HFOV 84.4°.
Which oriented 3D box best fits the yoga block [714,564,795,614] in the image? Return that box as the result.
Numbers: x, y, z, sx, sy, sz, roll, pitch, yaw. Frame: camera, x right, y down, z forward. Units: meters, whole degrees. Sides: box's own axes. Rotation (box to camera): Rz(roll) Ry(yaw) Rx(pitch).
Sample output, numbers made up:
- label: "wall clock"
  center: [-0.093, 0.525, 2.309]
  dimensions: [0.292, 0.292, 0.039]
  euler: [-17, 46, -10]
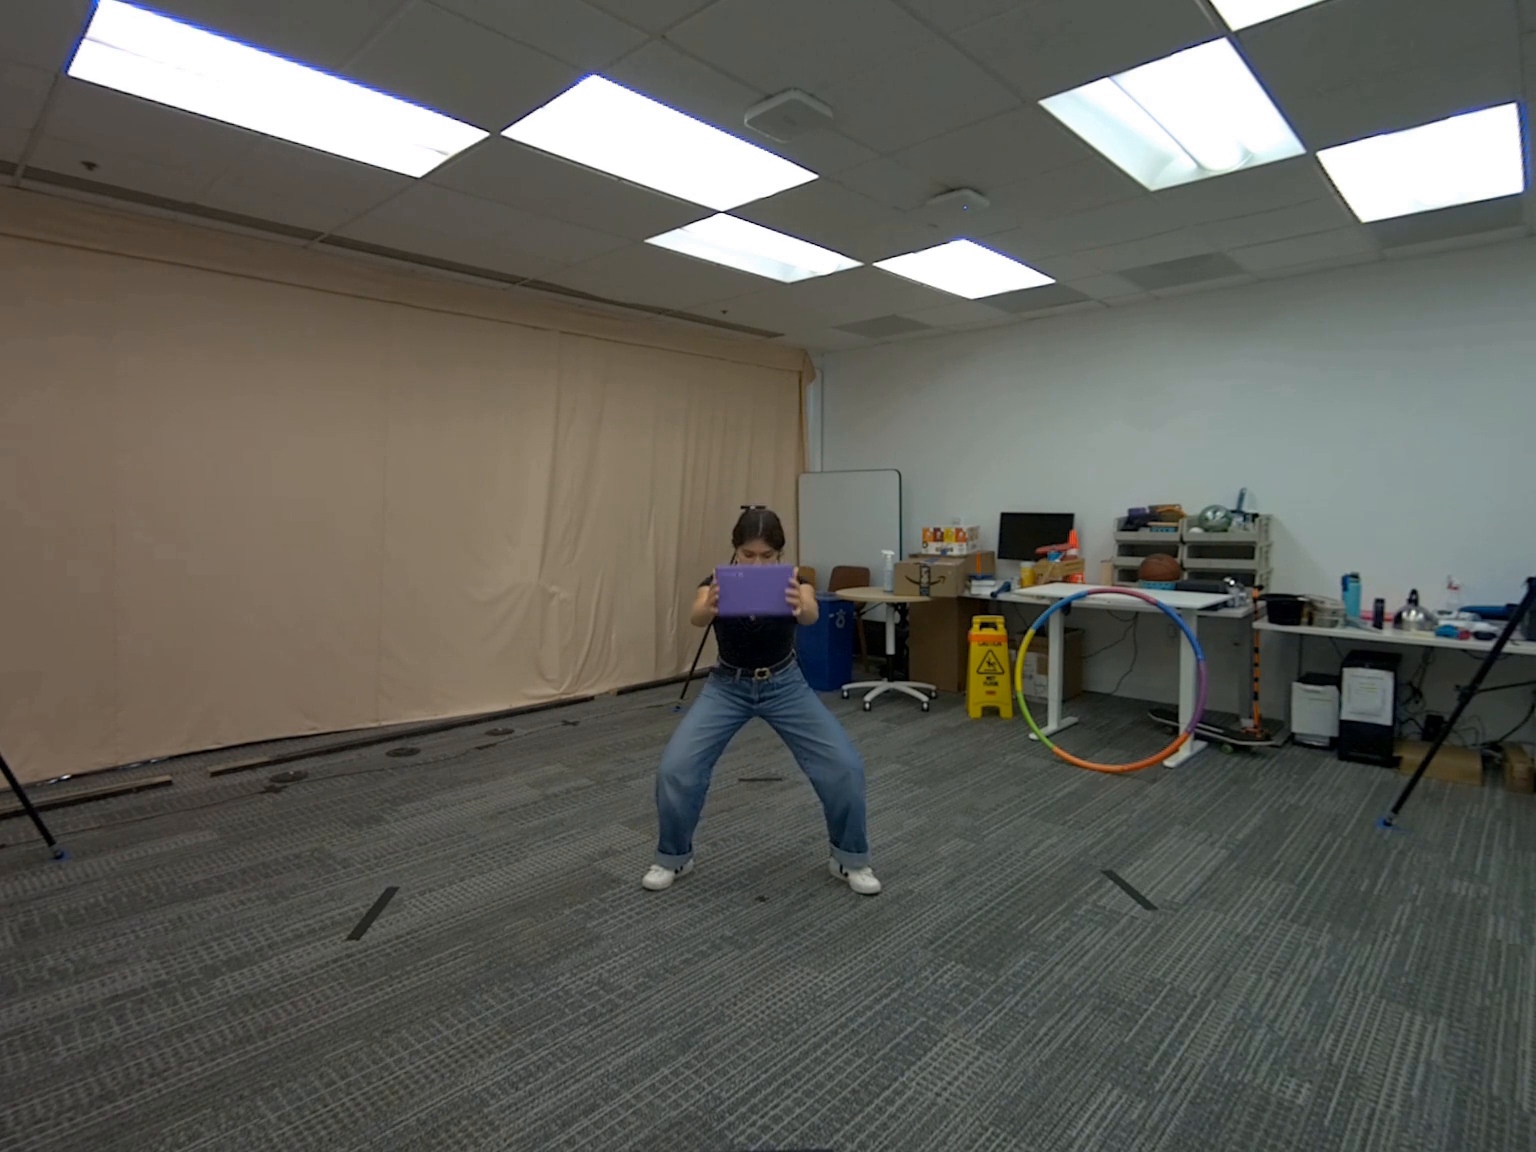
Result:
- label: "yoga block"
  center: [-0.042, -0.001, 2.499]
  dimensions: [0.229, 0.149, 0.076]
  euler: [-5, 2, 1]
